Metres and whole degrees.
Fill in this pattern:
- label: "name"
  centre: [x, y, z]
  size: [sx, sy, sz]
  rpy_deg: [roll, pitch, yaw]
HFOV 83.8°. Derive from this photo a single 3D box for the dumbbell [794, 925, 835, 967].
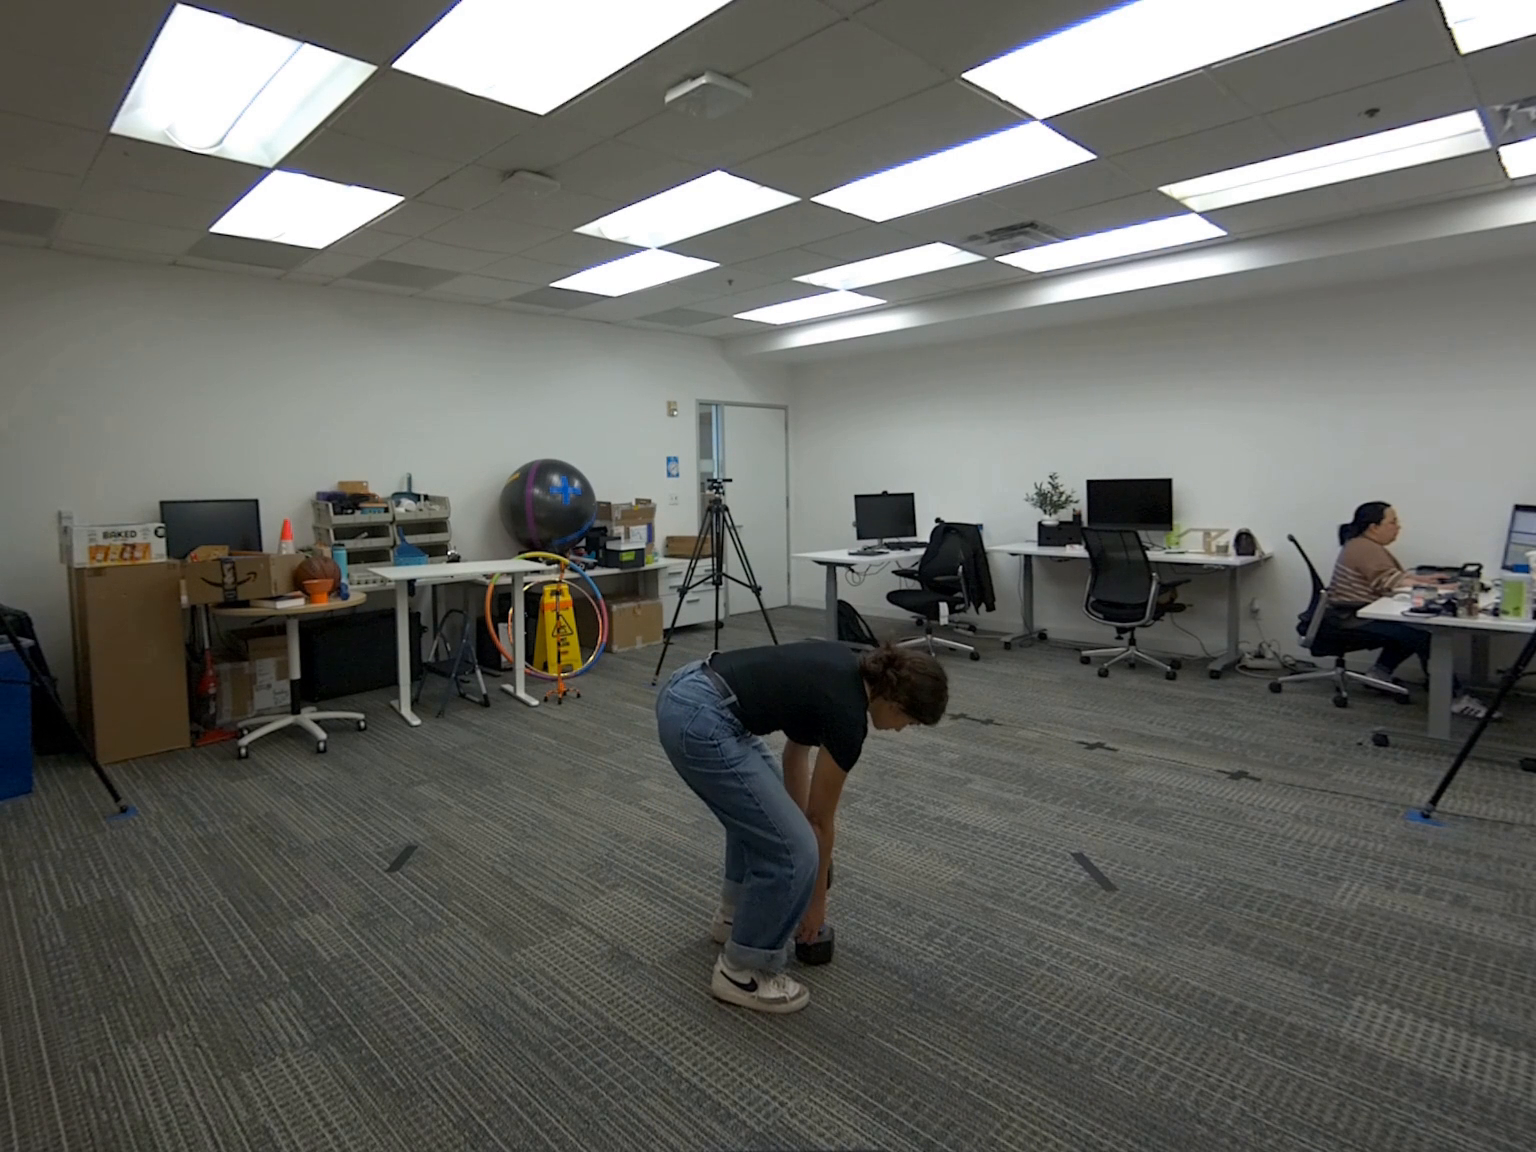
- label: "dumbbell"
  centre: [0.144, 0.974, 2.489]
  size: [0.121, 0.292, 0.111]
  rpy_deg: [-3, 5, -19]
